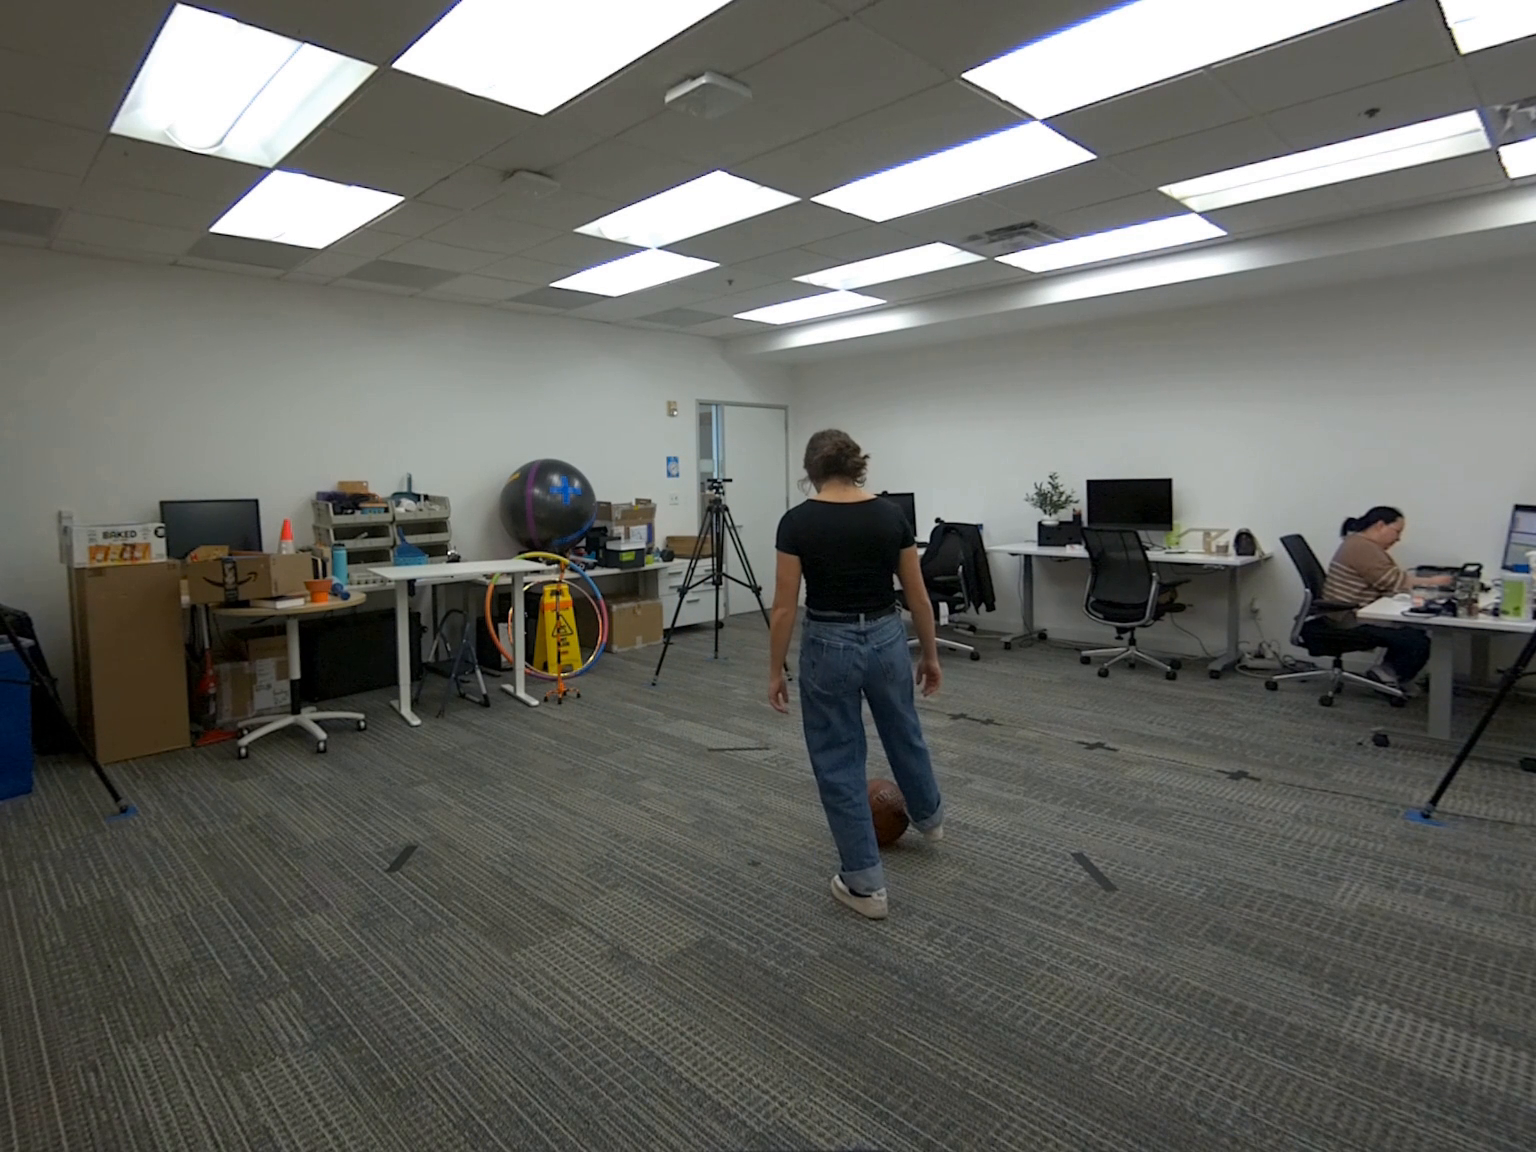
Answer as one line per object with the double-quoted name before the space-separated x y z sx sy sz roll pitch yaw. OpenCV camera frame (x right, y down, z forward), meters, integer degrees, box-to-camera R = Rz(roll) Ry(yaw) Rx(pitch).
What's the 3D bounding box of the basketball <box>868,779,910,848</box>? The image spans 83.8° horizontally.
"basketball" 0.421 0.895 3.271 0.236 0.235 0.237 -1 5 -2
